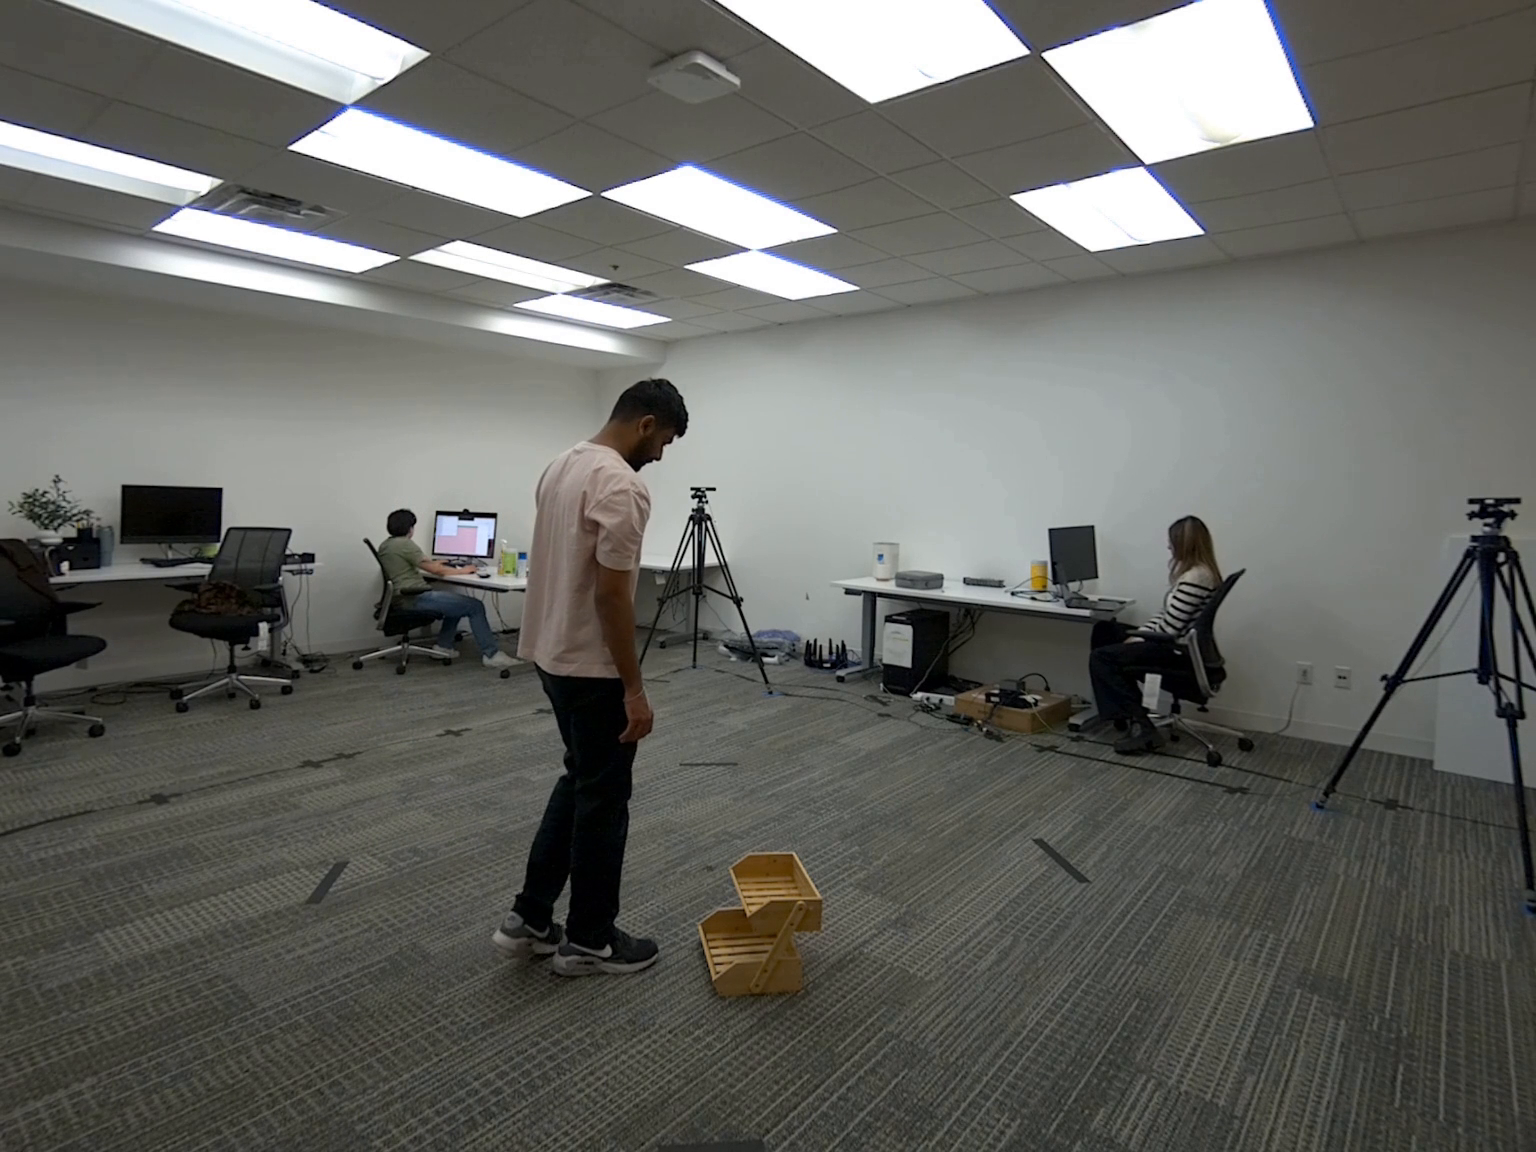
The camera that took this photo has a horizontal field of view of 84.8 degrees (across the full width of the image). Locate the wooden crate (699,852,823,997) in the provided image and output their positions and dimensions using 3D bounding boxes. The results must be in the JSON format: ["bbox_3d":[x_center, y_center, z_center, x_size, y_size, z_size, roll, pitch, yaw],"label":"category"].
[{"bbox_3d":[-0.042,1.002,2.475,0.298,0.272,0.330,2,5,-12],"label":"wooden crate"}]
